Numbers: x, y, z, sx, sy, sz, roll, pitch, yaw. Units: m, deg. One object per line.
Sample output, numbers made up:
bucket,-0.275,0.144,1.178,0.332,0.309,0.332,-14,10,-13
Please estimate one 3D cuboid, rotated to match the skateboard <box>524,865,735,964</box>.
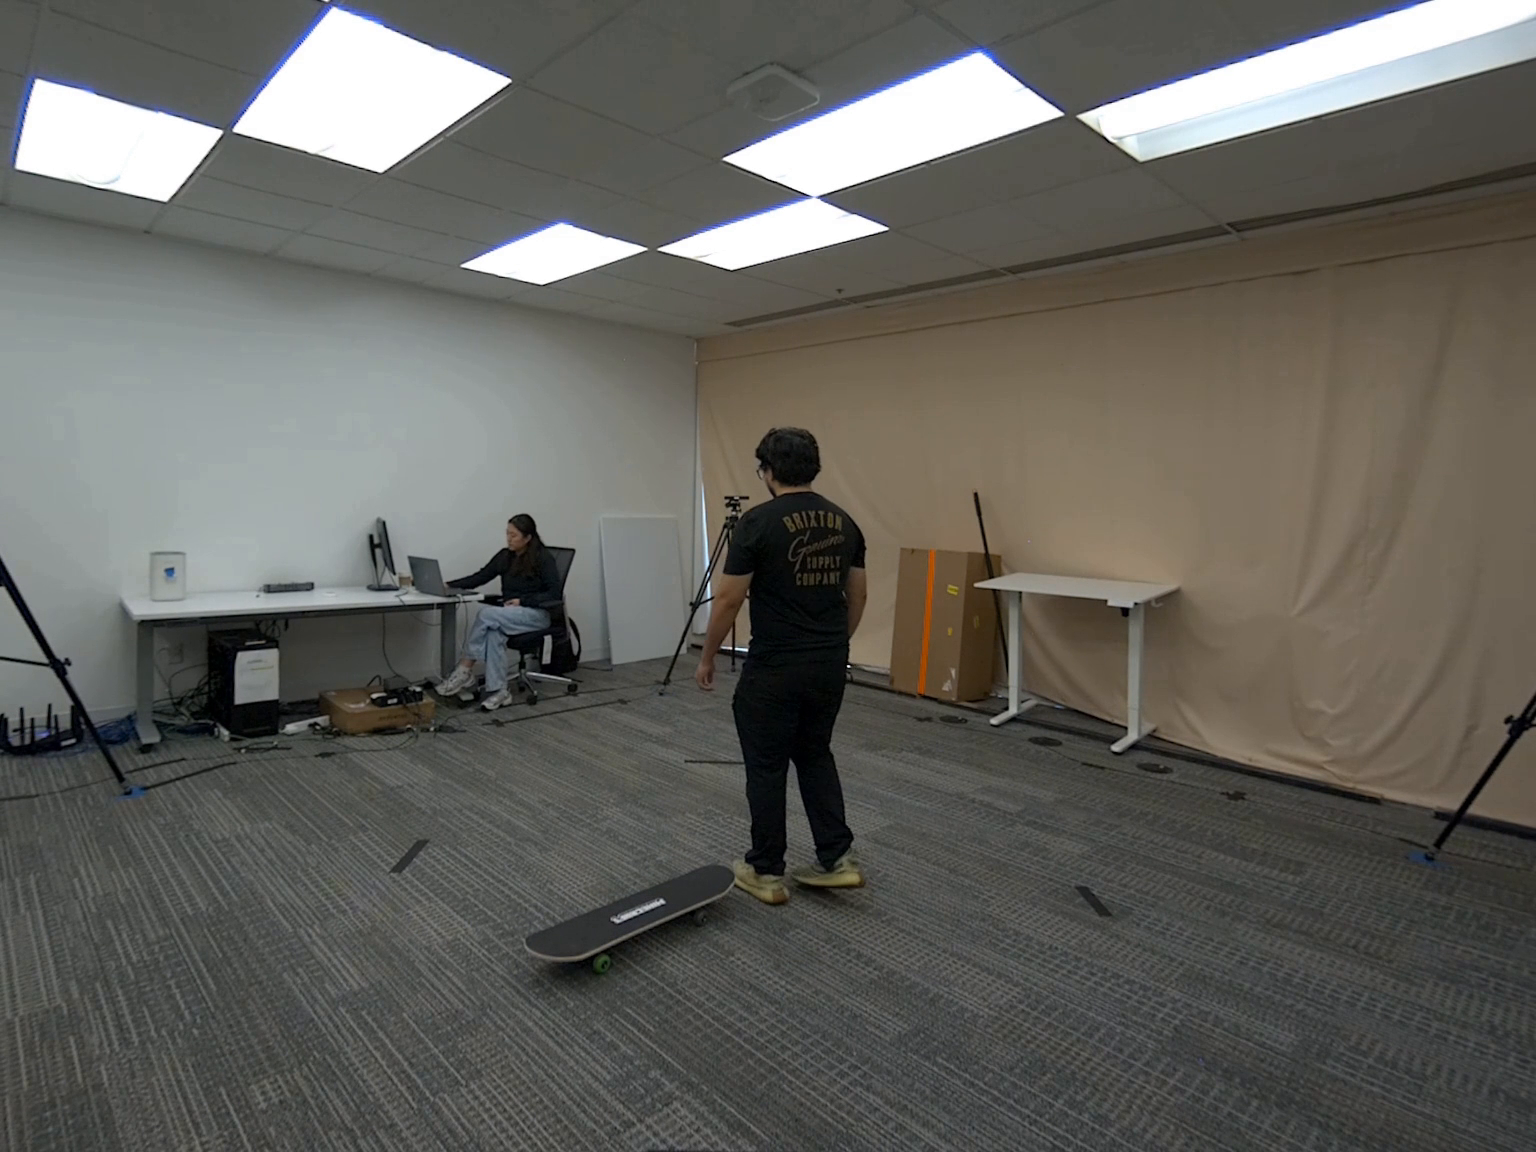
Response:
skateboard,-0.409,1.083,2.644,0.198,0.110,0.768,6,7,43
